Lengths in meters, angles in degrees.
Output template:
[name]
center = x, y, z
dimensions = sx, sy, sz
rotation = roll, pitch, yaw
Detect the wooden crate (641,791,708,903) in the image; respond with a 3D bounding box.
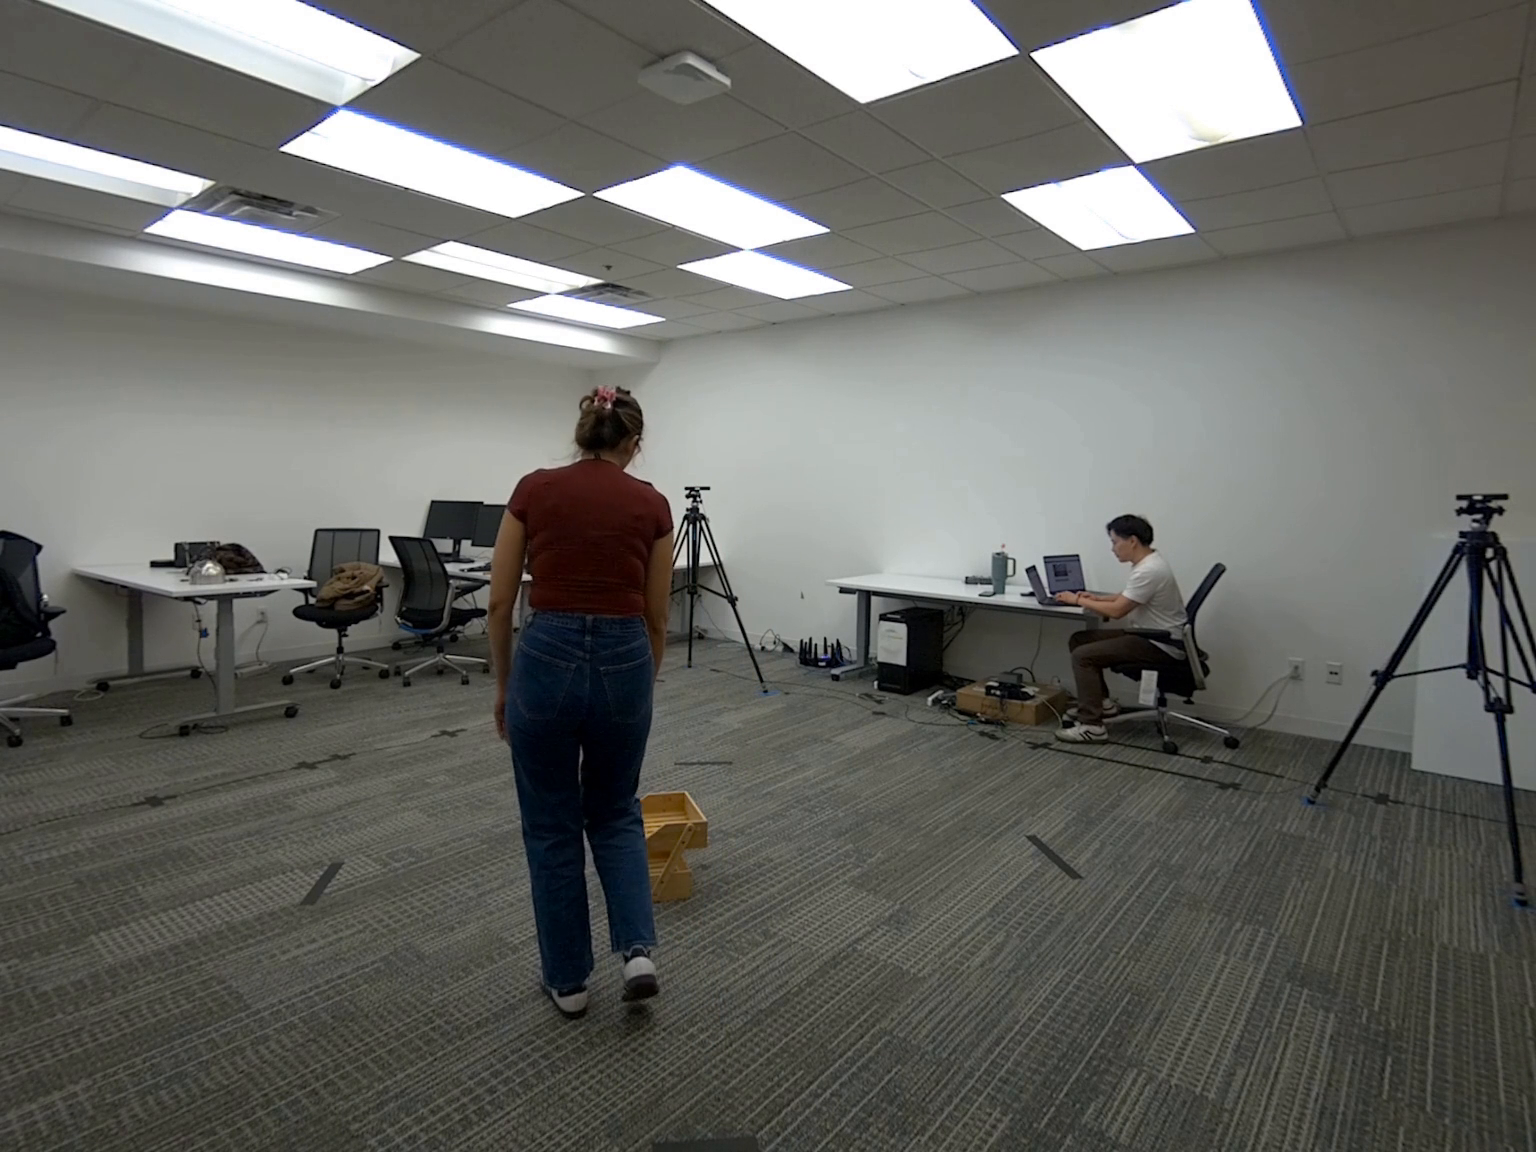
[wooden crate]
center = -0.409, 0.939, 2.990
dimensions = 0.296, 0.272, 0.332
rotation = -1, 5, -19
